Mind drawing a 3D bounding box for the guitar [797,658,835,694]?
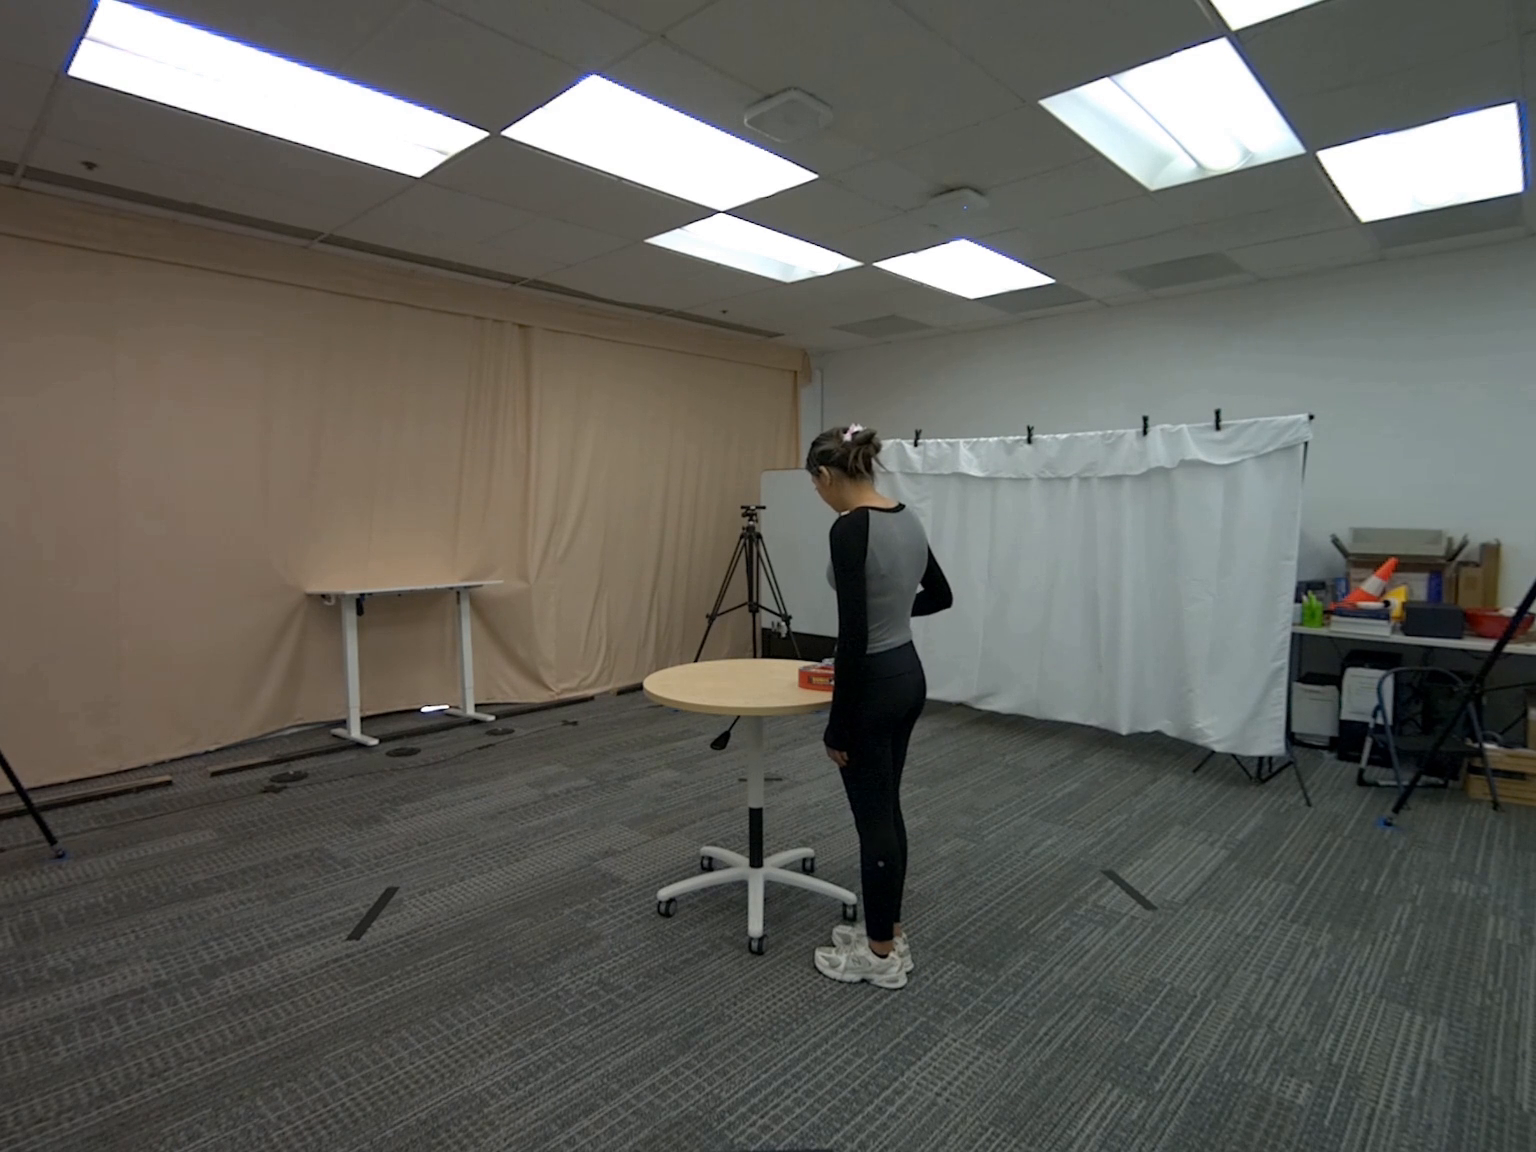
[{"bbox_3d":[0.305,0.320,2.915,0.199,0.070,0.484,4,7,36],"label":"guitar"}]
